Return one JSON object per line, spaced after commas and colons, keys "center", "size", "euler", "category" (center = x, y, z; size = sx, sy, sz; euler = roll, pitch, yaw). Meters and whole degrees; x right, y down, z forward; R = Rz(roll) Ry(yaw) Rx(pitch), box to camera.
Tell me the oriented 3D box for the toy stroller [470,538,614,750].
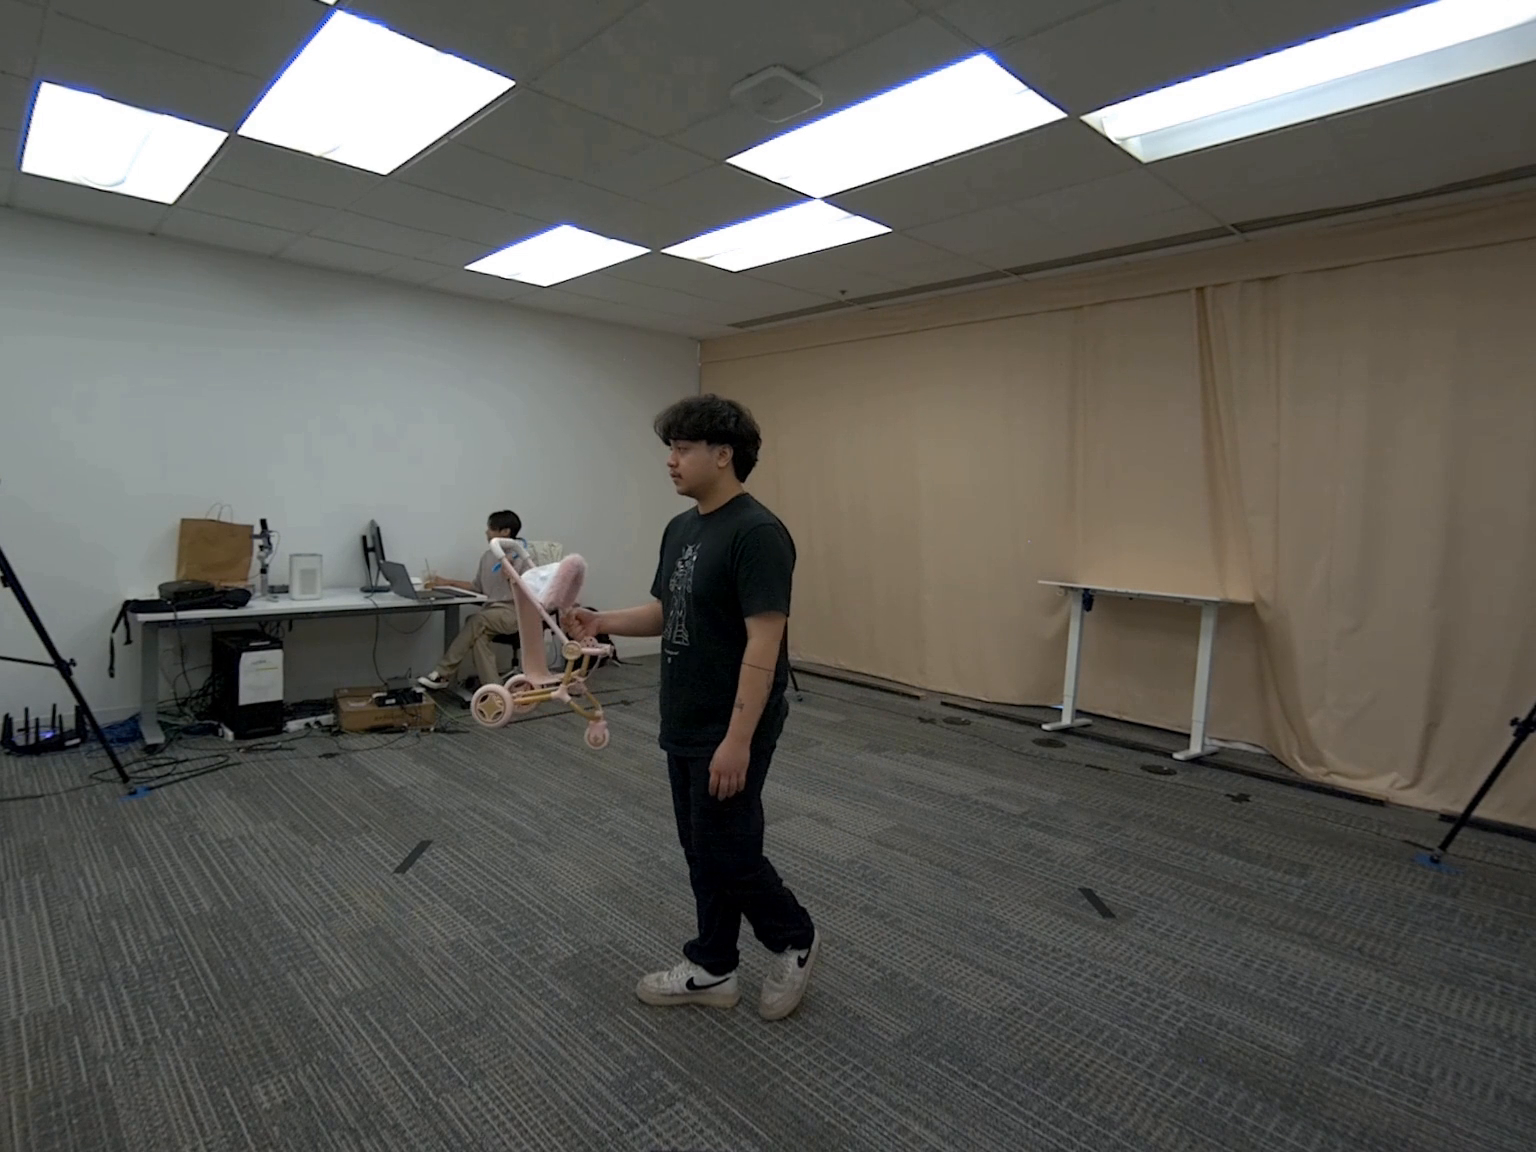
{"center": [-0.559, 0.181, 2.204], "size": [0.343, 0.536, 0.279], "euler": [3, -3, 7], "category": "toy stroller"}
